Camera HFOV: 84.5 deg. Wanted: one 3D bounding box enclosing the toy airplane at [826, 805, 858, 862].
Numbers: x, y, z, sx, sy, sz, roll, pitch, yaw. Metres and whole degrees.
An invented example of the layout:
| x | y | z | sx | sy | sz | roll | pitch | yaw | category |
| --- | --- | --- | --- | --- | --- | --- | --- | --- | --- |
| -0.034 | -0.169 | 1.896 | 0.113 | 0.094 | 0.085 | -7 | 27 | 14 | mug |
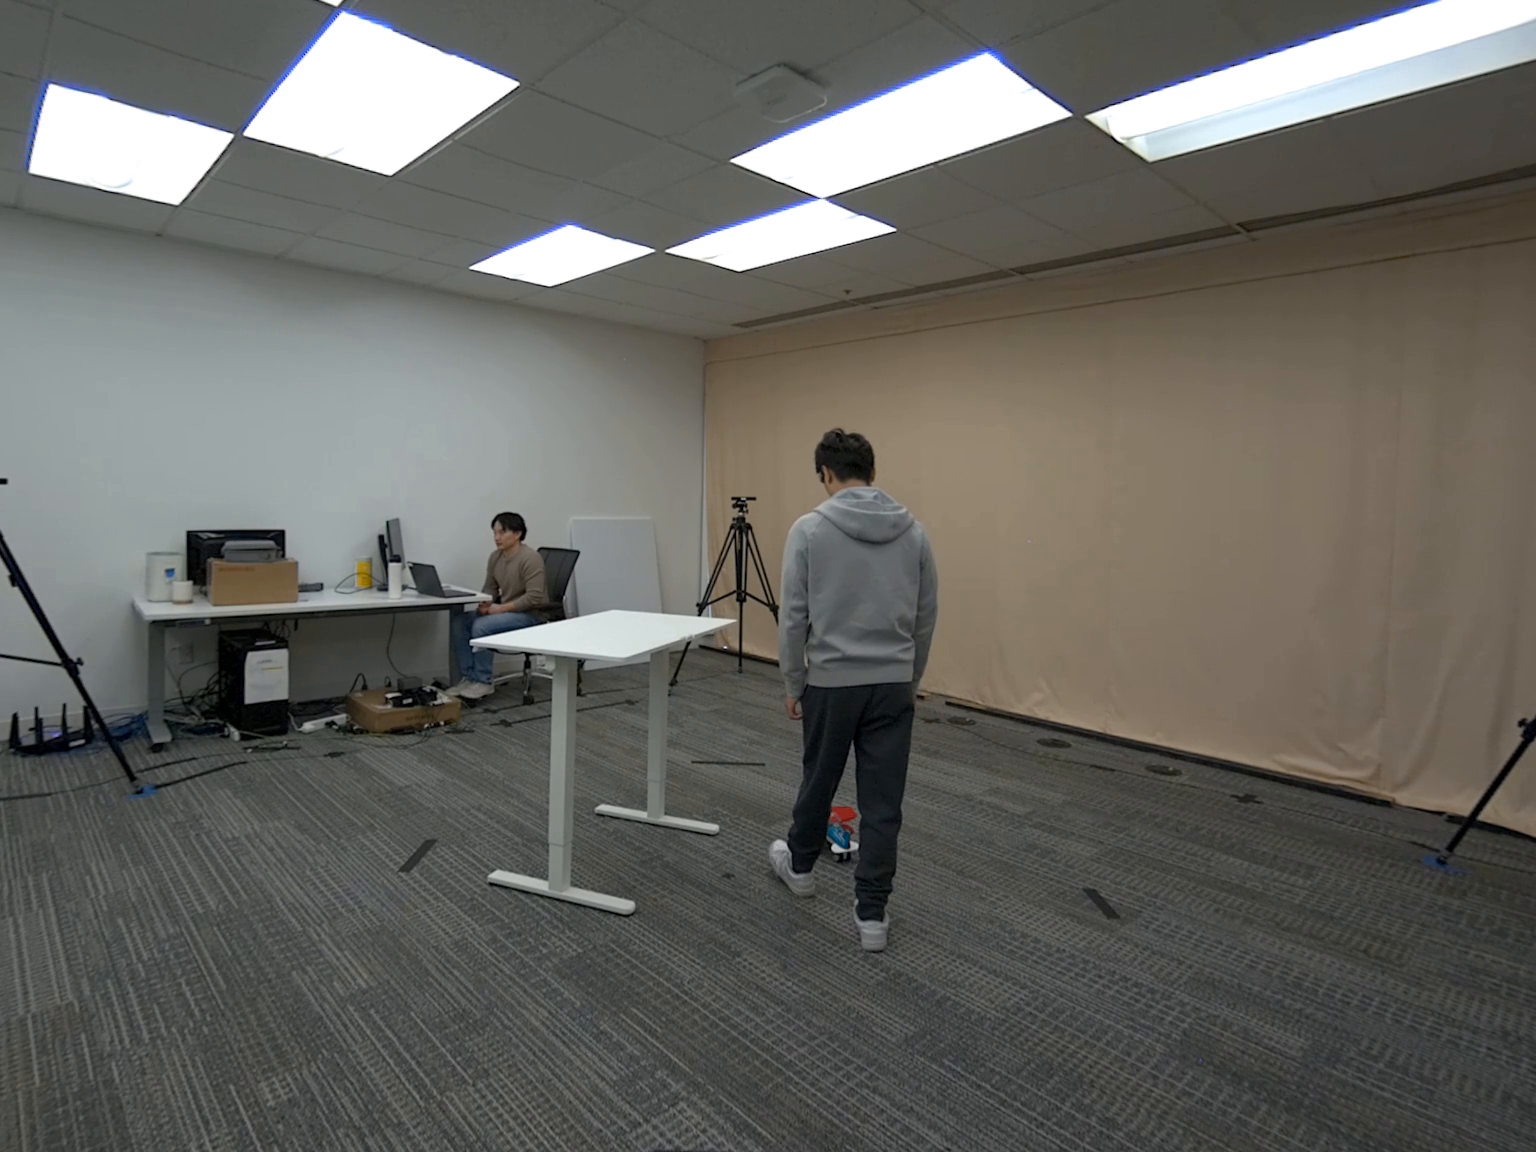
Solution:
| x | y | z | sx | sy | sz | roll | pitch | yaw | category |
| --- | --- | --- | --- | --- | --- | --- | --- | --- | --- |
| 0.255 | 1.021 | 3.349 | 0.265 | 0.156 | 0.245 | 2 | 3 | 36 | toy airplane |
